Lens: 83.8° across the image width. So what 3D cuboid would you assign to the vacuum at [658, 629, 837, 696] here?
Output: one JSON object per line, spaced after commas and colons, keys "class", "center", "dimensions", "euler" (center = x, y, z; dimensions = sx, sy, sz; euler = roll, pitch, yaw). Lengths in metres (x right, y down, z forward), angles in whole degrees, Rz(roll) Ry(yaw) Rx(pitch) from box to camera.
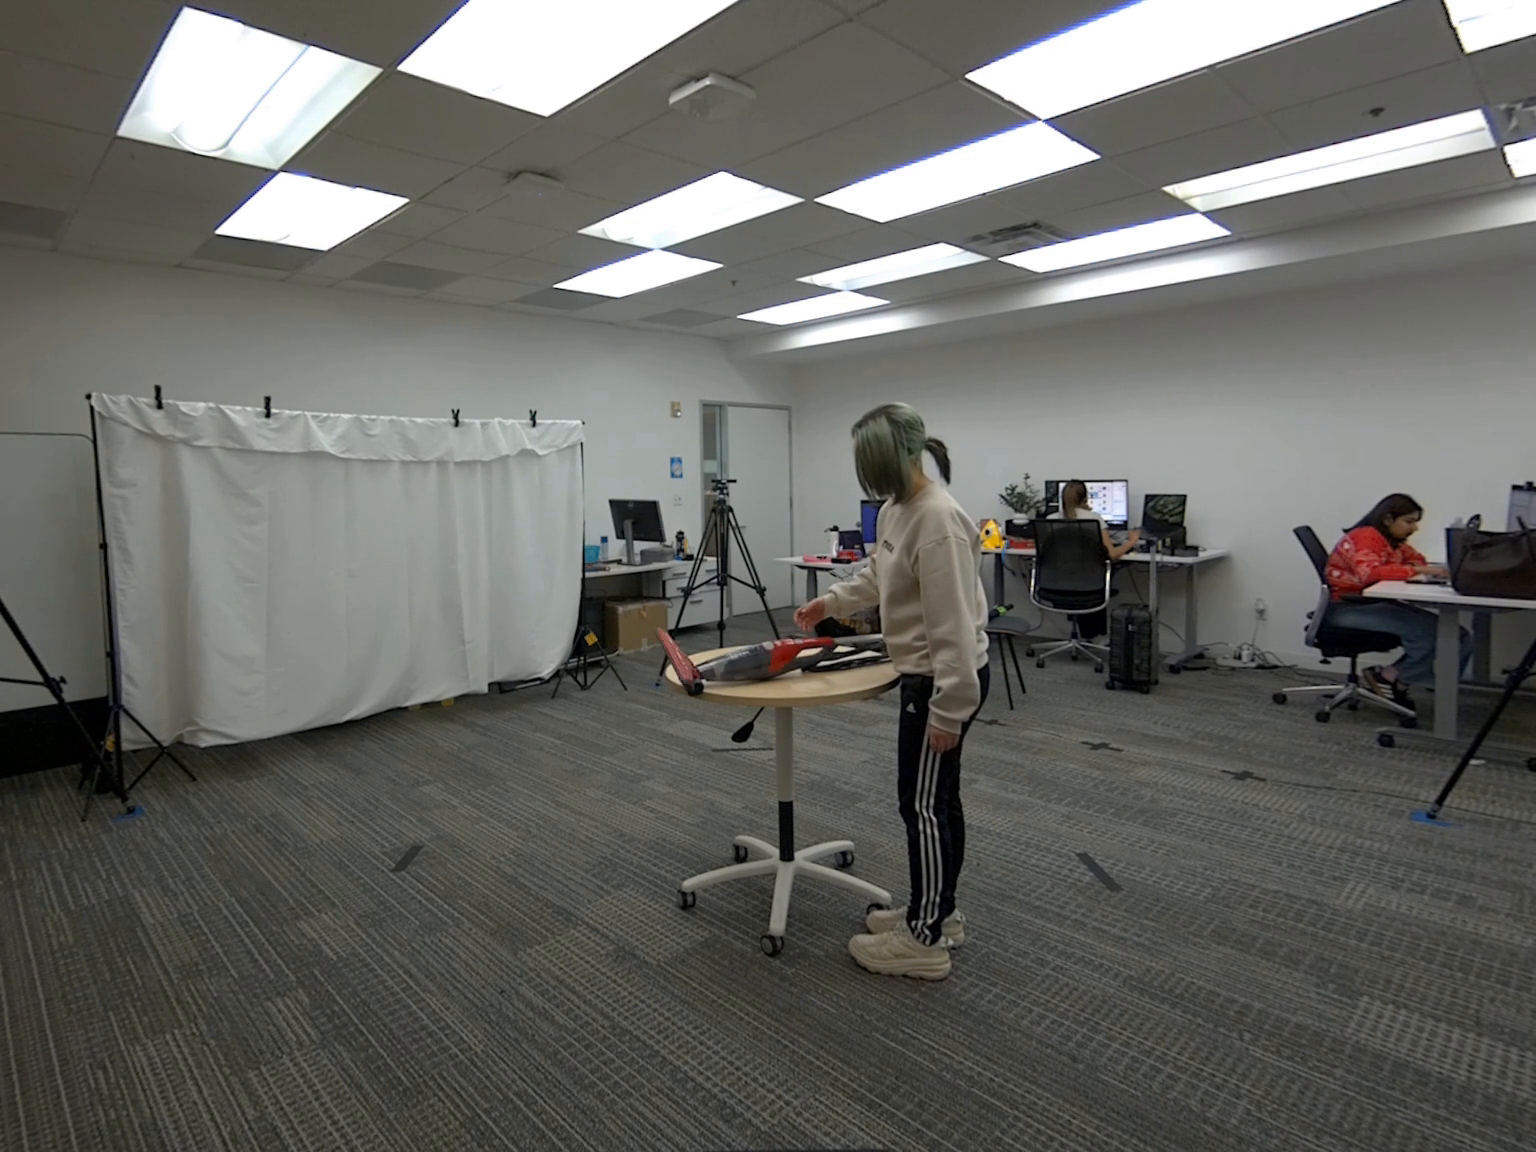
{"class": "vacuum", "center": [0.199, 0.260, 2.722], "dimensions": [1.027, 0.142, 0.262], "euler": [-2, 28, -25]}
